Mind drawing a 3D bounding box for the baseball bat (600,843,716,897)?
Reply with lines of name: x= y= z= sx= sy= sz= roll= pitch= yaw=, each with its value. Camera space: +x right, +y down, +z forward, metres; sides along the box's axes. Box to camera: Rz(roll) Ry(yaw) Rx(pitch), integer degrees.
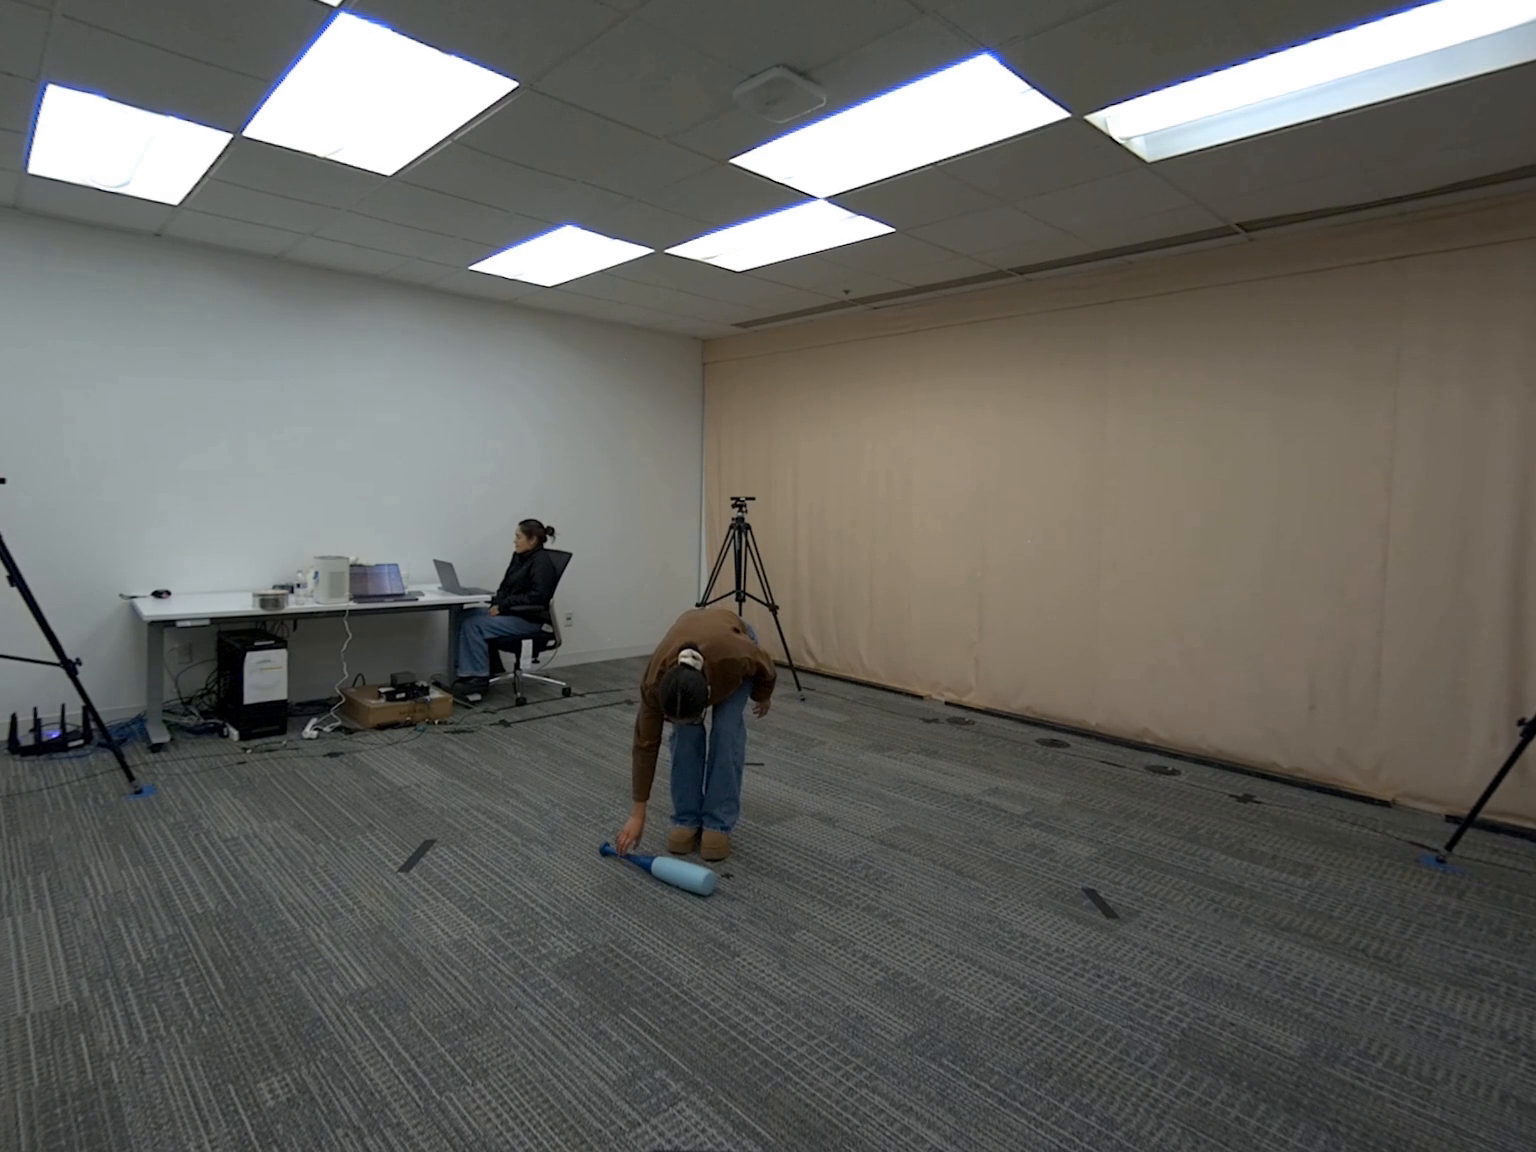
baseball bat: x=-0.425 y=1.064 z=3.097 sx=0.555 sy=0.089 sz=0.087 roll=0 pitch=3 yaw=37
